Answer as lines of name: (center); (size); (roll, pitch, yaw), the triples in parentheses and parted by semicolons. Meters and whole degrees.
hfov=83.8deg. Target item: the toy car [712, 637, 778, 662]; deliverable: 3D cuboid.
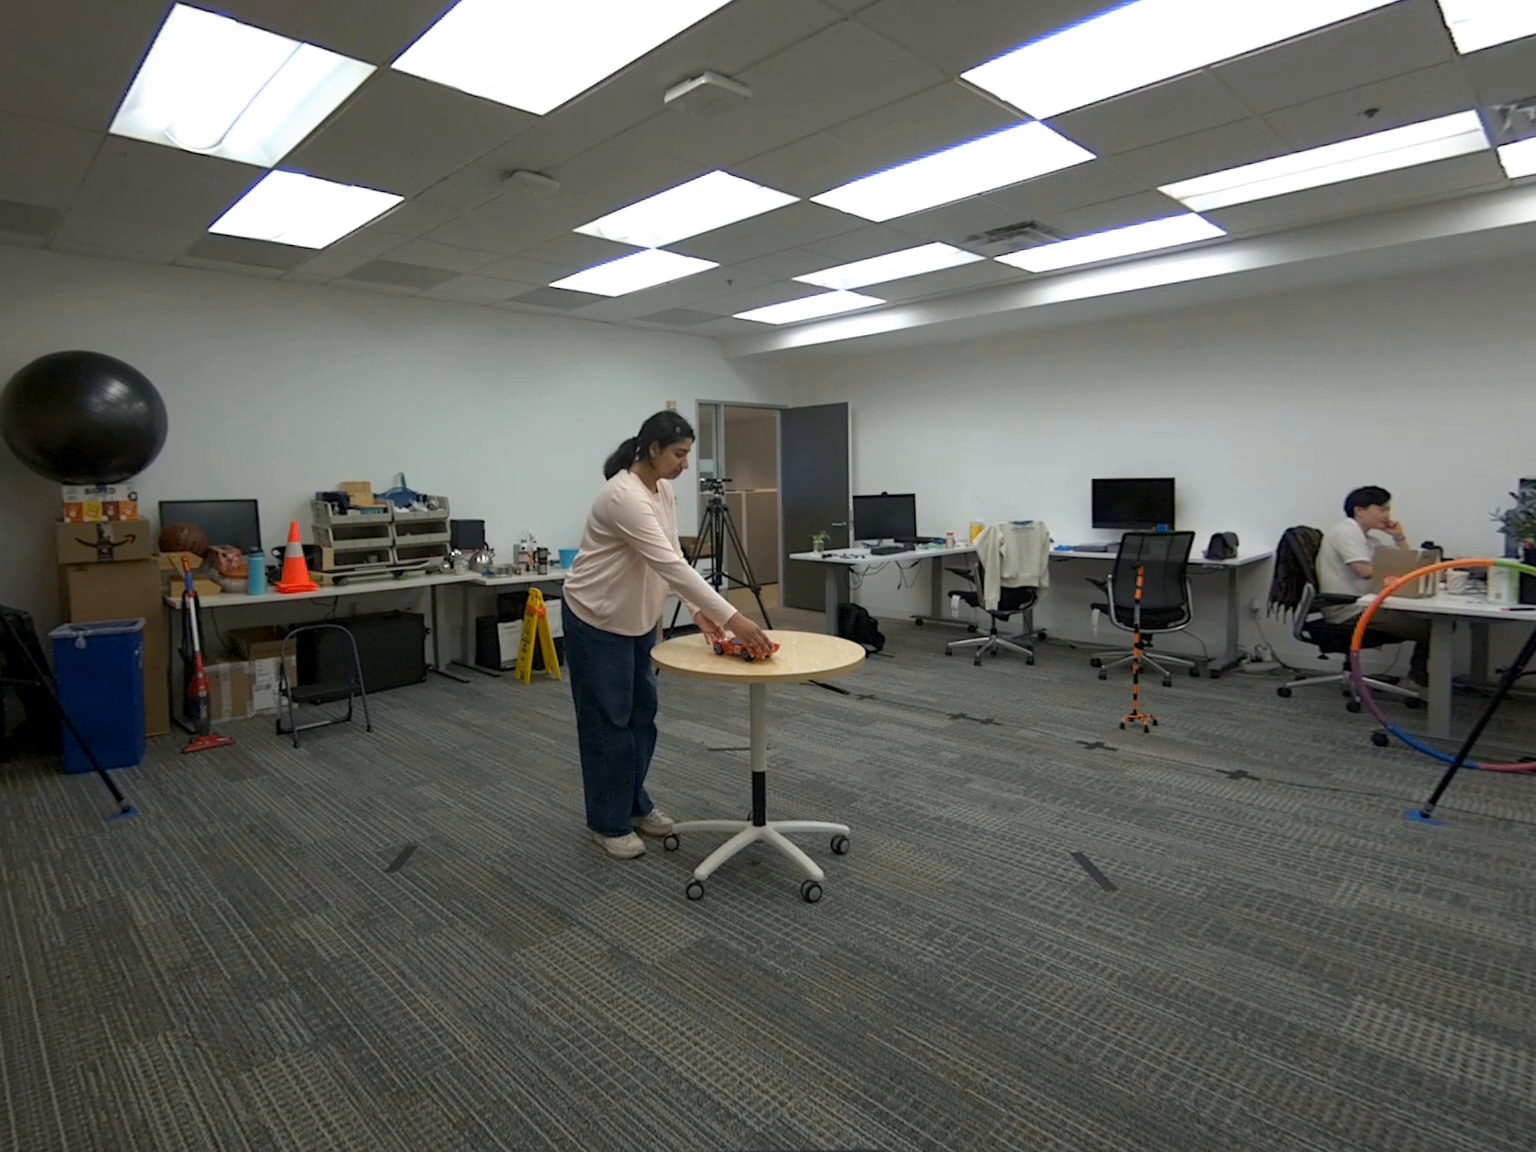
toy car: (-0.069, 0.248, 2.956); (0.127, 0.083, 0.260); (-7, -1, -43)
